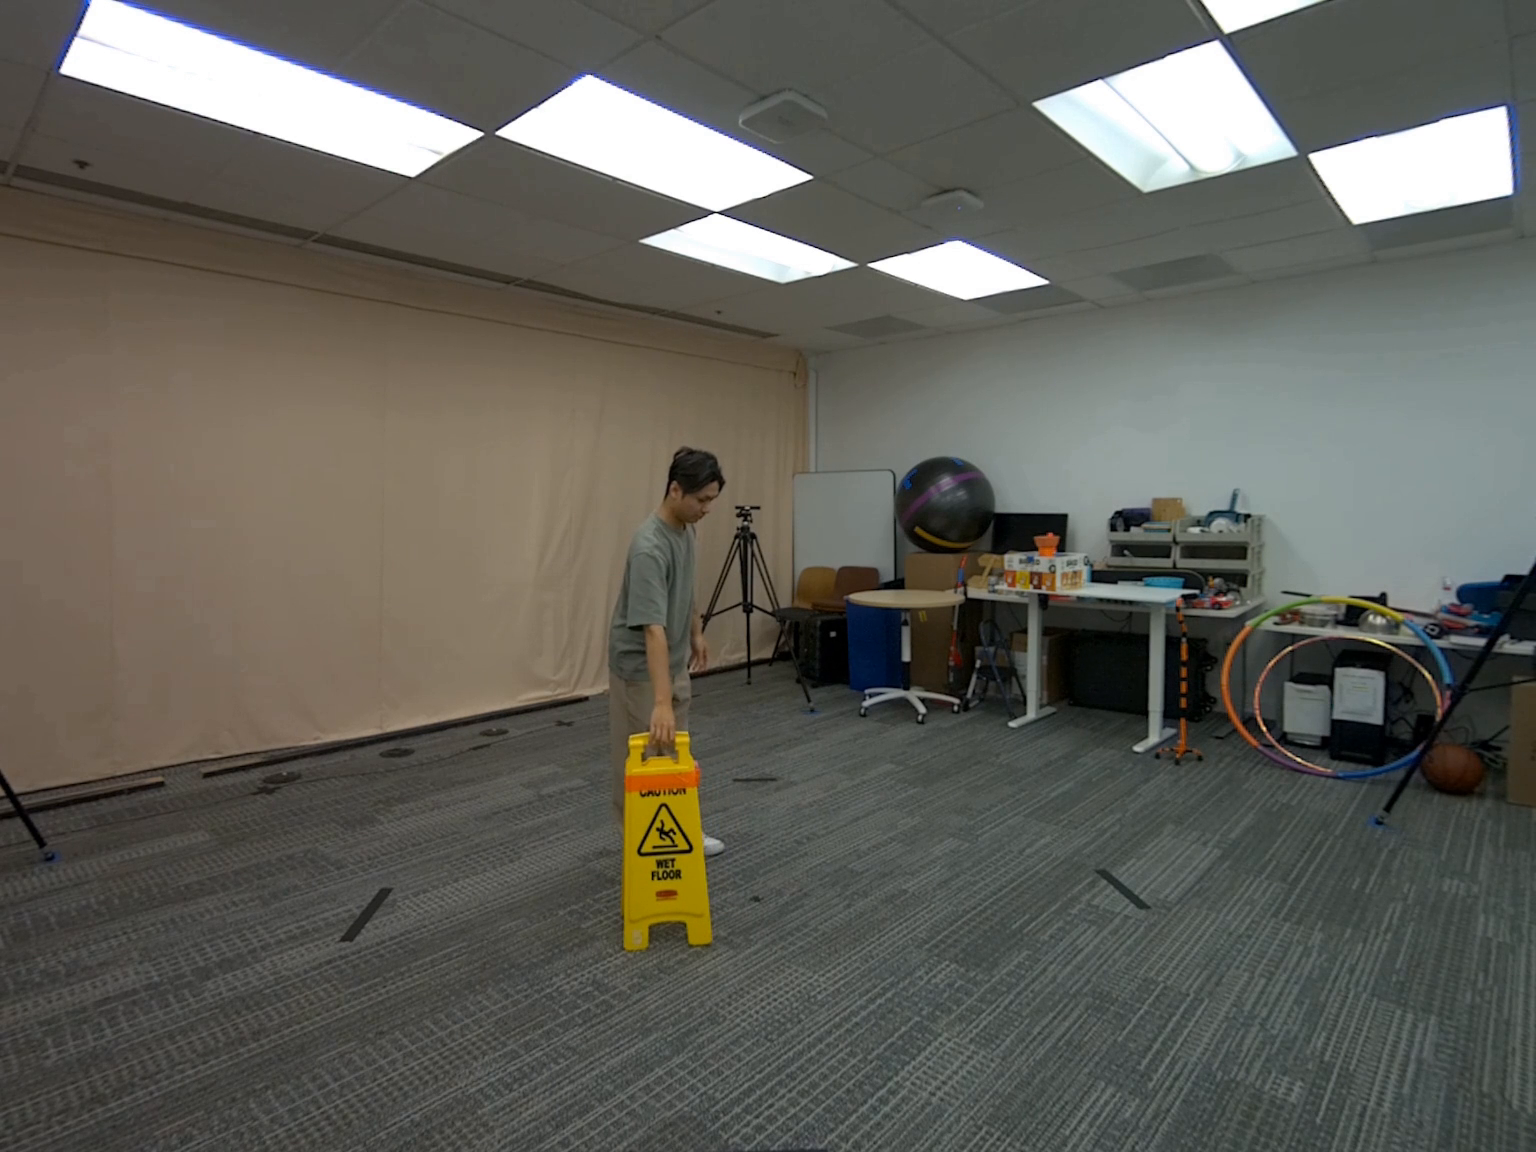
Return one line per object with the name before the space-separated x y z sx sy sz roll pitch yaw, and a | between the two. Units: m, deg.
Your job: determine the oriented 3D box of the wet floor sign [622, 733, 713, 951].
wet floor sign | -0.344 0.841 2.752 0.280 0.644 0.293 -2 5 -8
